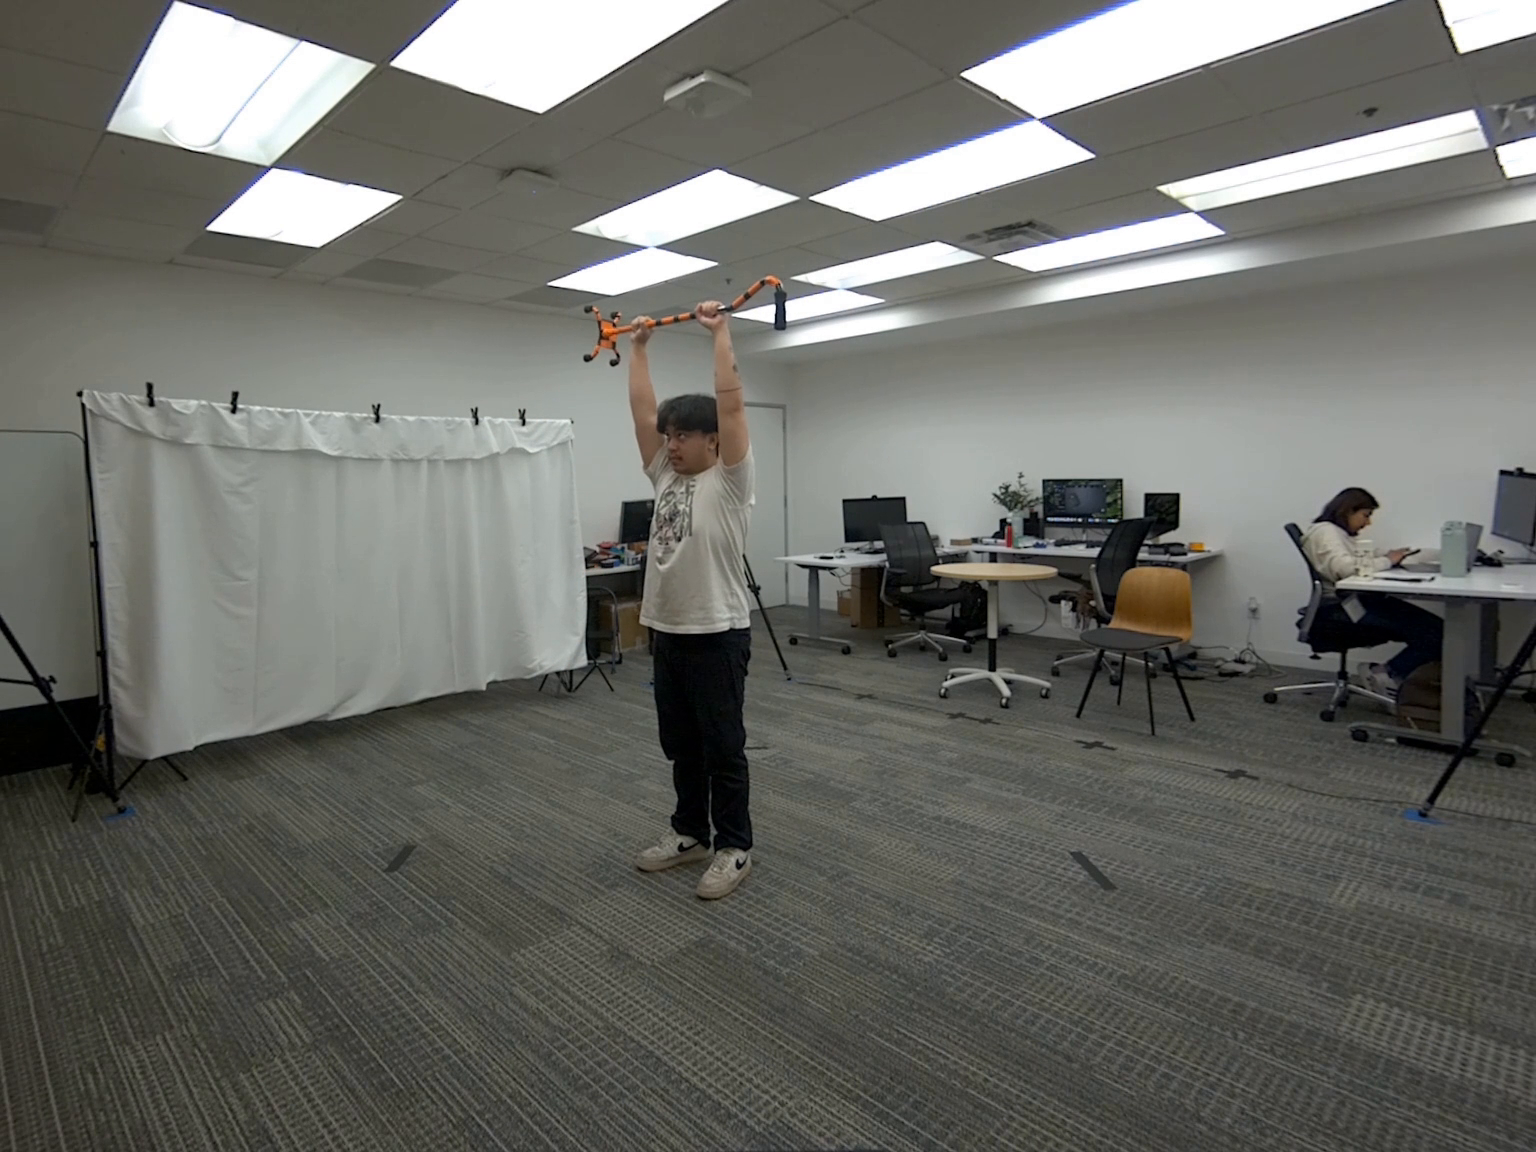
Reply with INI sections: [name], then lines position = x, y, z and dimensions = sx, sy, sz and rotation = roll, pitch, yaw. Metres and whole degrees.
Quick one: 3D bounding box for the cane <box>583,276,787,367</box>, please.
[cane]
position = -0.287, -0.856, 2.836
dimensions = 0.936, 0.206, 0.147
rotation = 5, 5, 43
